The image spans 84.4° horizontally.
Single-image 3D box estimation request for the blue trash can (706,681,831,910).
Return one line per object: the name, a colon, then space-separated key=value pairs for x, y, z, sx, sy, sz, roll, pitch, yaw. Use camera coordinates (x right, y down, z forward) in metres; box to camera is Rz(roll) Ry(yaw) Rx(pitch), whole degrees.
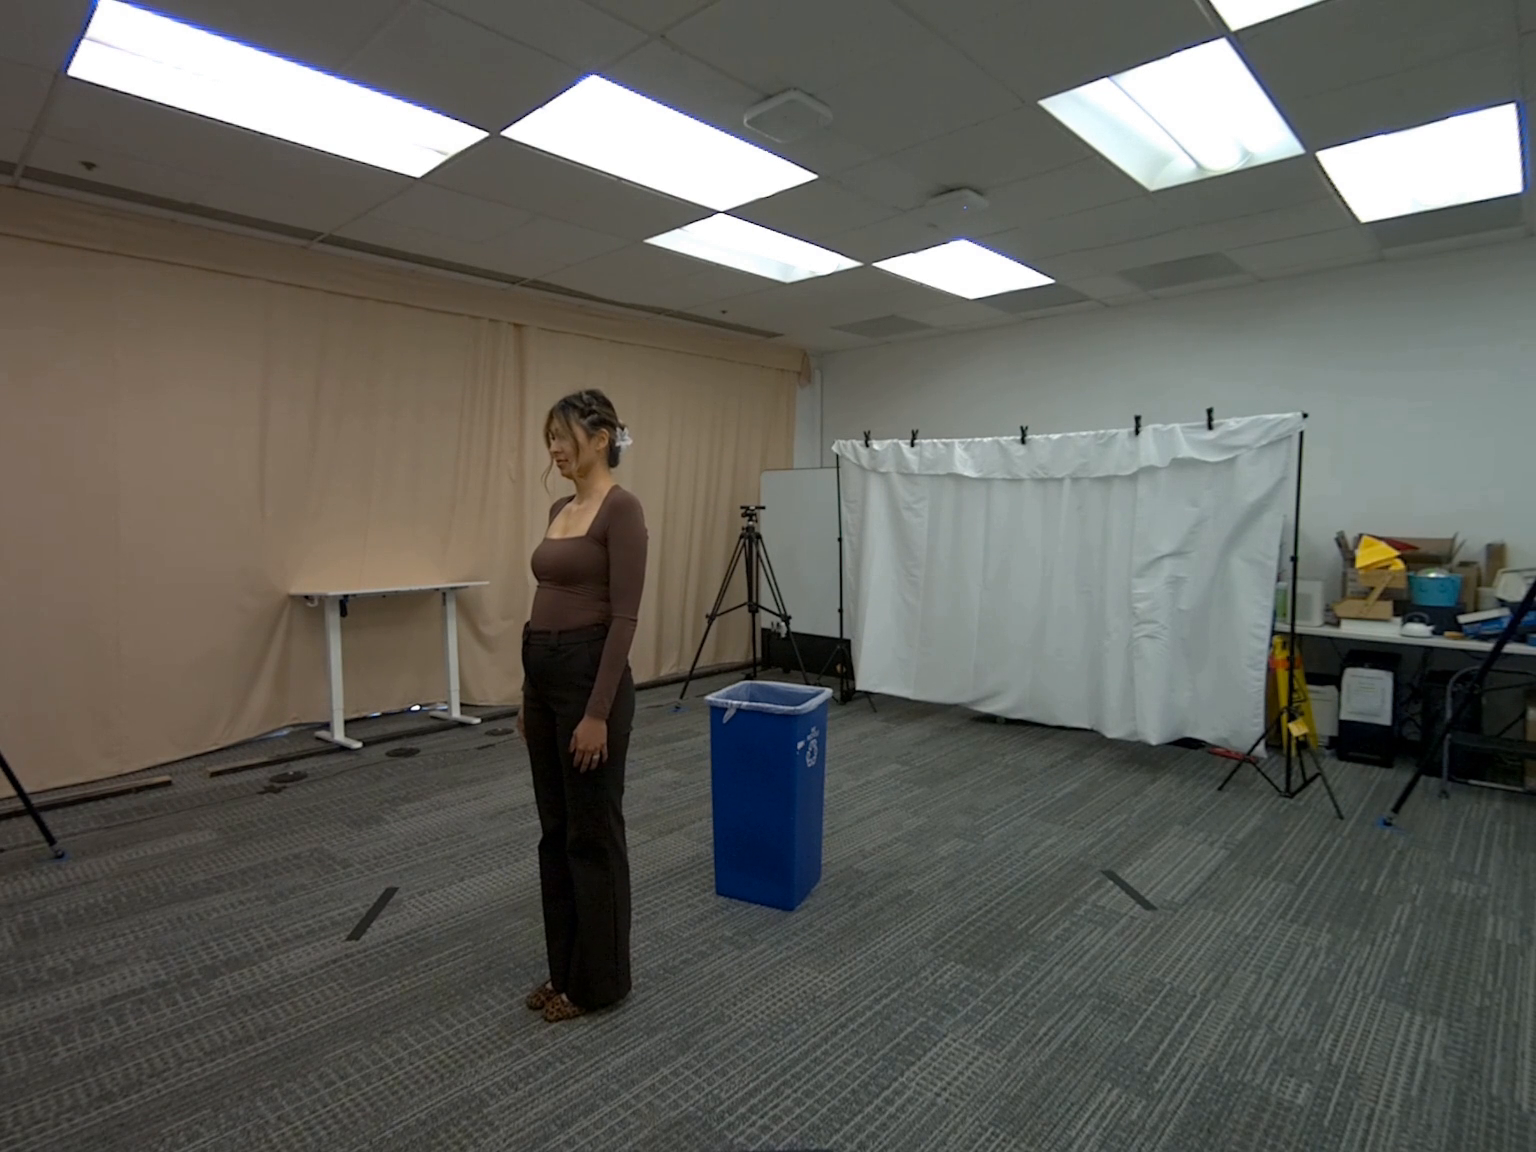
blue trash can: x=0.009 y=0.776 z=3.070 sx=0.388 sy=0.712 sz=0.365 roll=2 pitch=4 yaw=25
